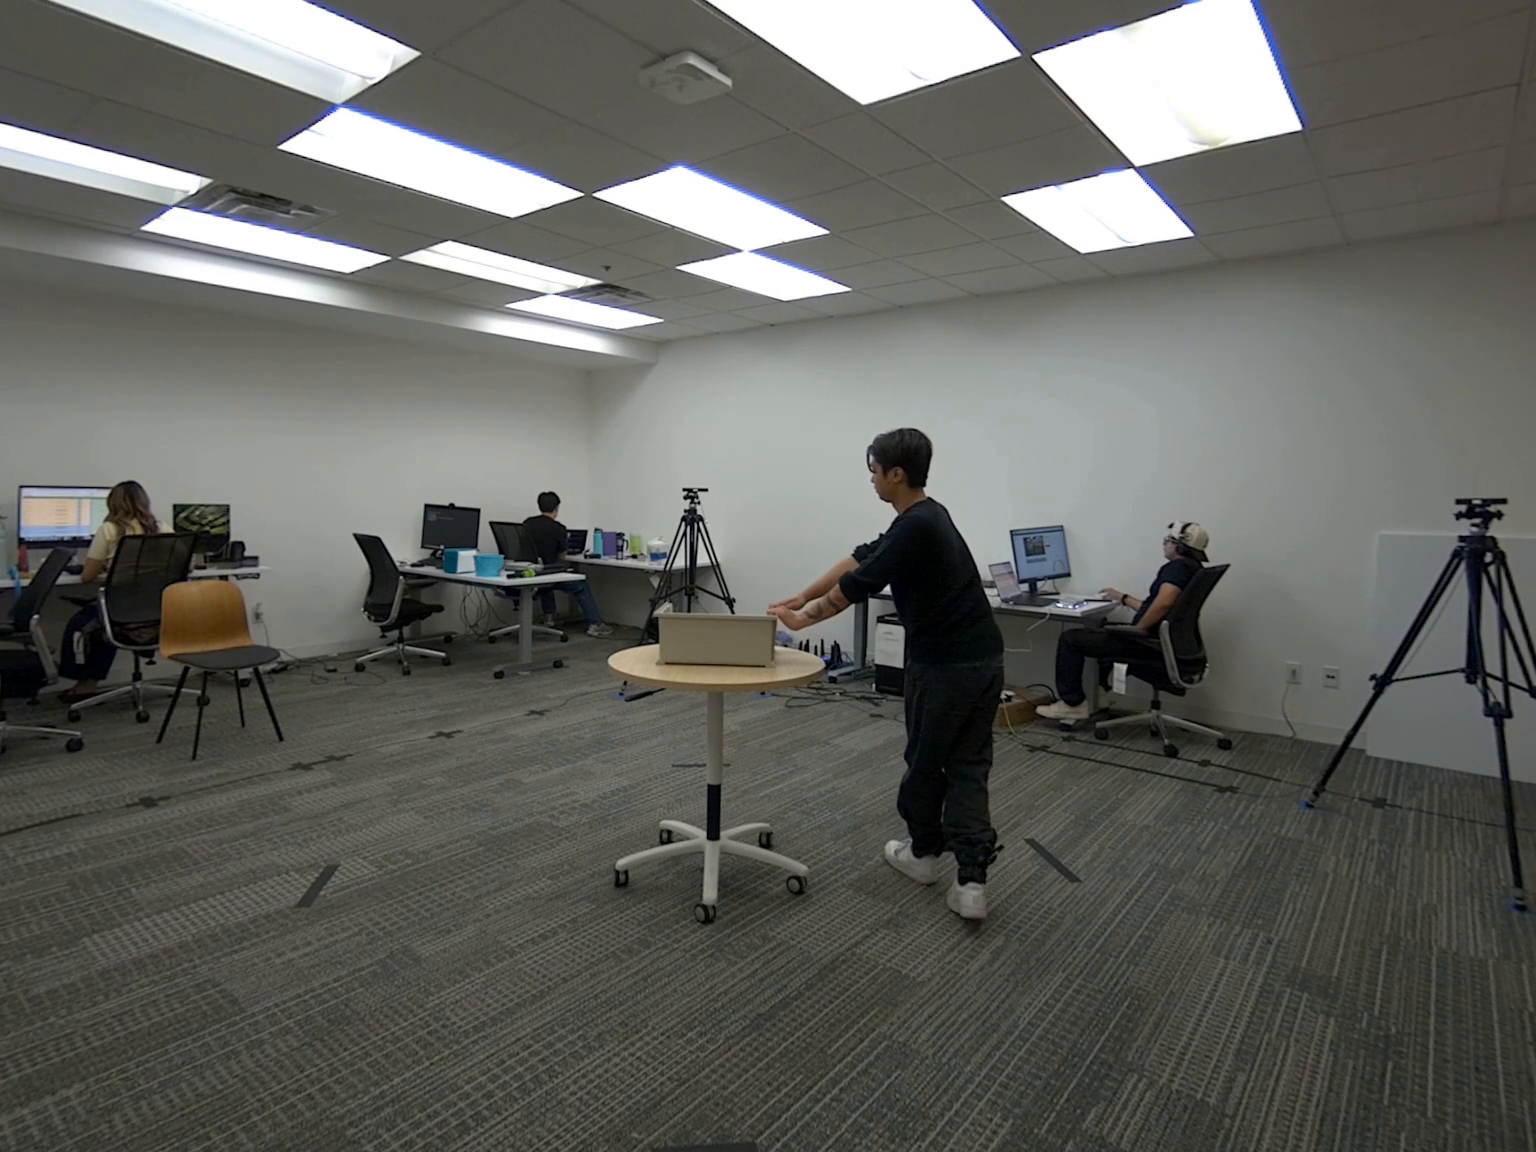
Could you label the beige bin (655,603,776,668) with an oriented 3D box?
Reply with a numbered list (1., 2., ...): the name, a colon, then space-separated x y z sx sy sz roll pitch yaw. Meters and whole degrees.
1. beige bin: -0.186 0.201 3.074 0.424 0.188 0.378 1 5 2
